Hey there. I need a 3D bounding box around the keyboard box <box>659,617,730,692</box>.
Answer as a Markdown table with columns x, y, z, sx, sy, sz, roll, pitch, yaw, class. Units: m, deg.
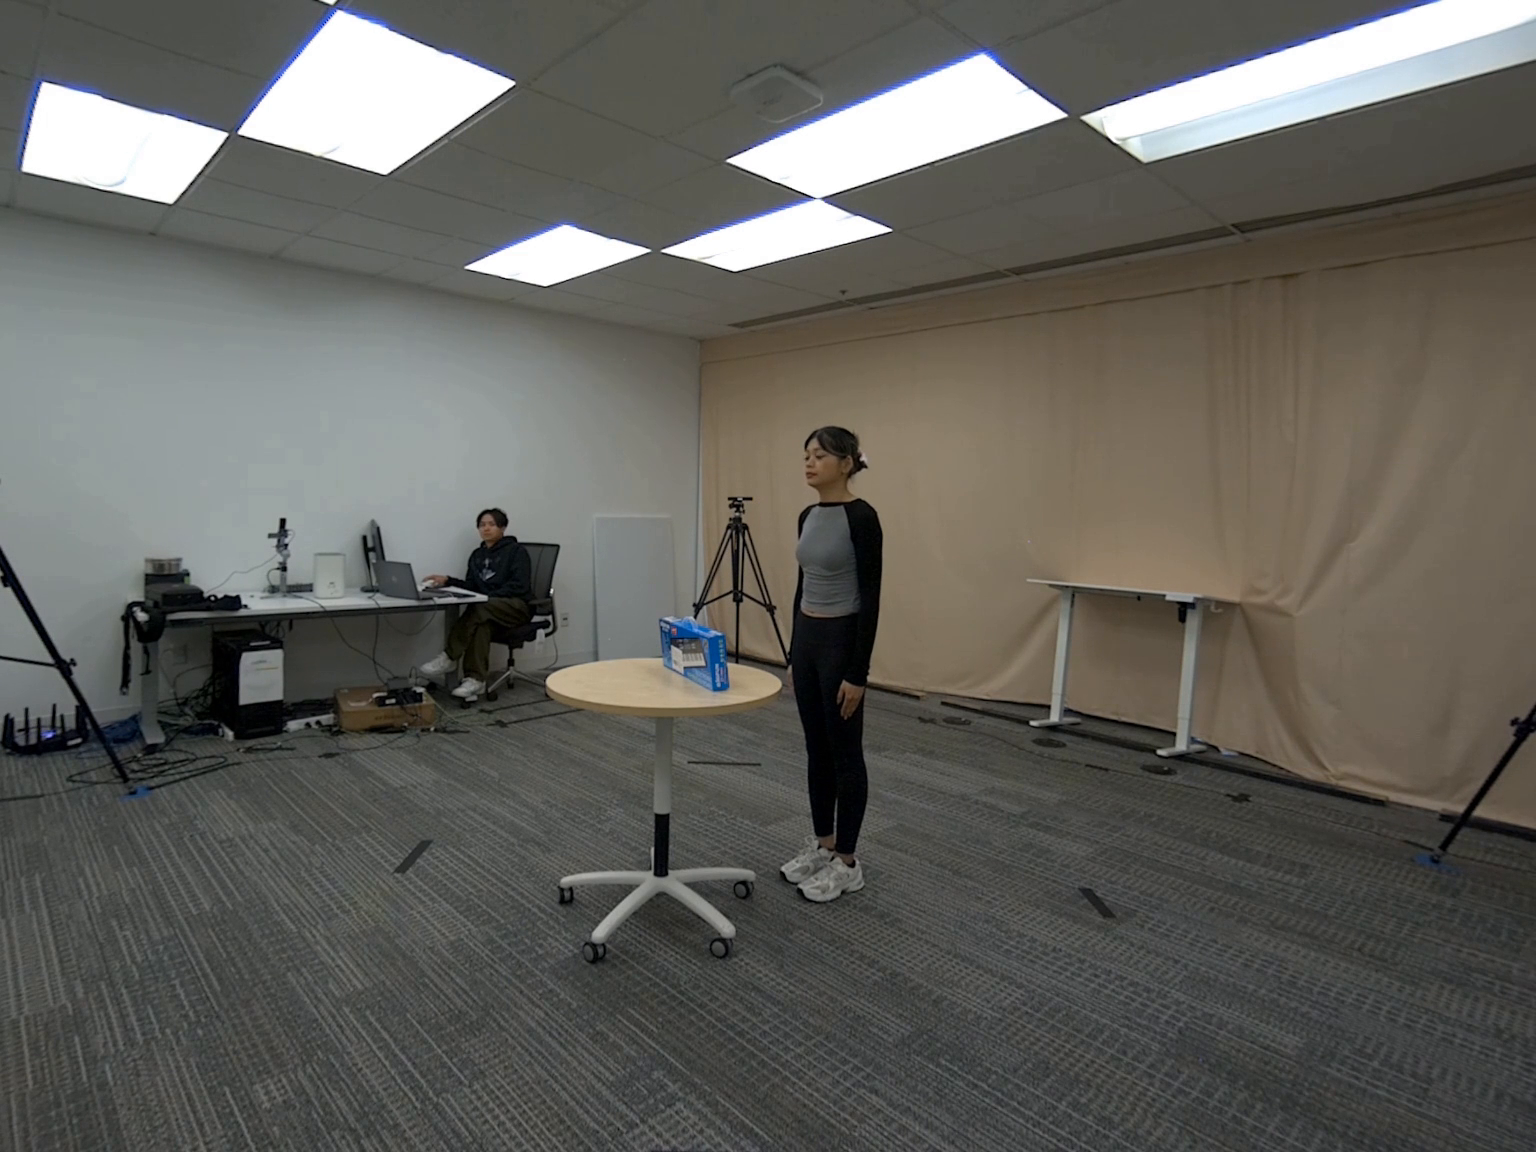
| x | y | z | sx | sy | sz | roll | pitch | yaw | class |
| --- | --- | --- | --- | --- | --- | --- | --- | --- | --- |
| -0.254 | 0.253 | 2.800 | 0.058 | 0.175 | 0.446 | -7 | 8 | -24 | keyboard box |
